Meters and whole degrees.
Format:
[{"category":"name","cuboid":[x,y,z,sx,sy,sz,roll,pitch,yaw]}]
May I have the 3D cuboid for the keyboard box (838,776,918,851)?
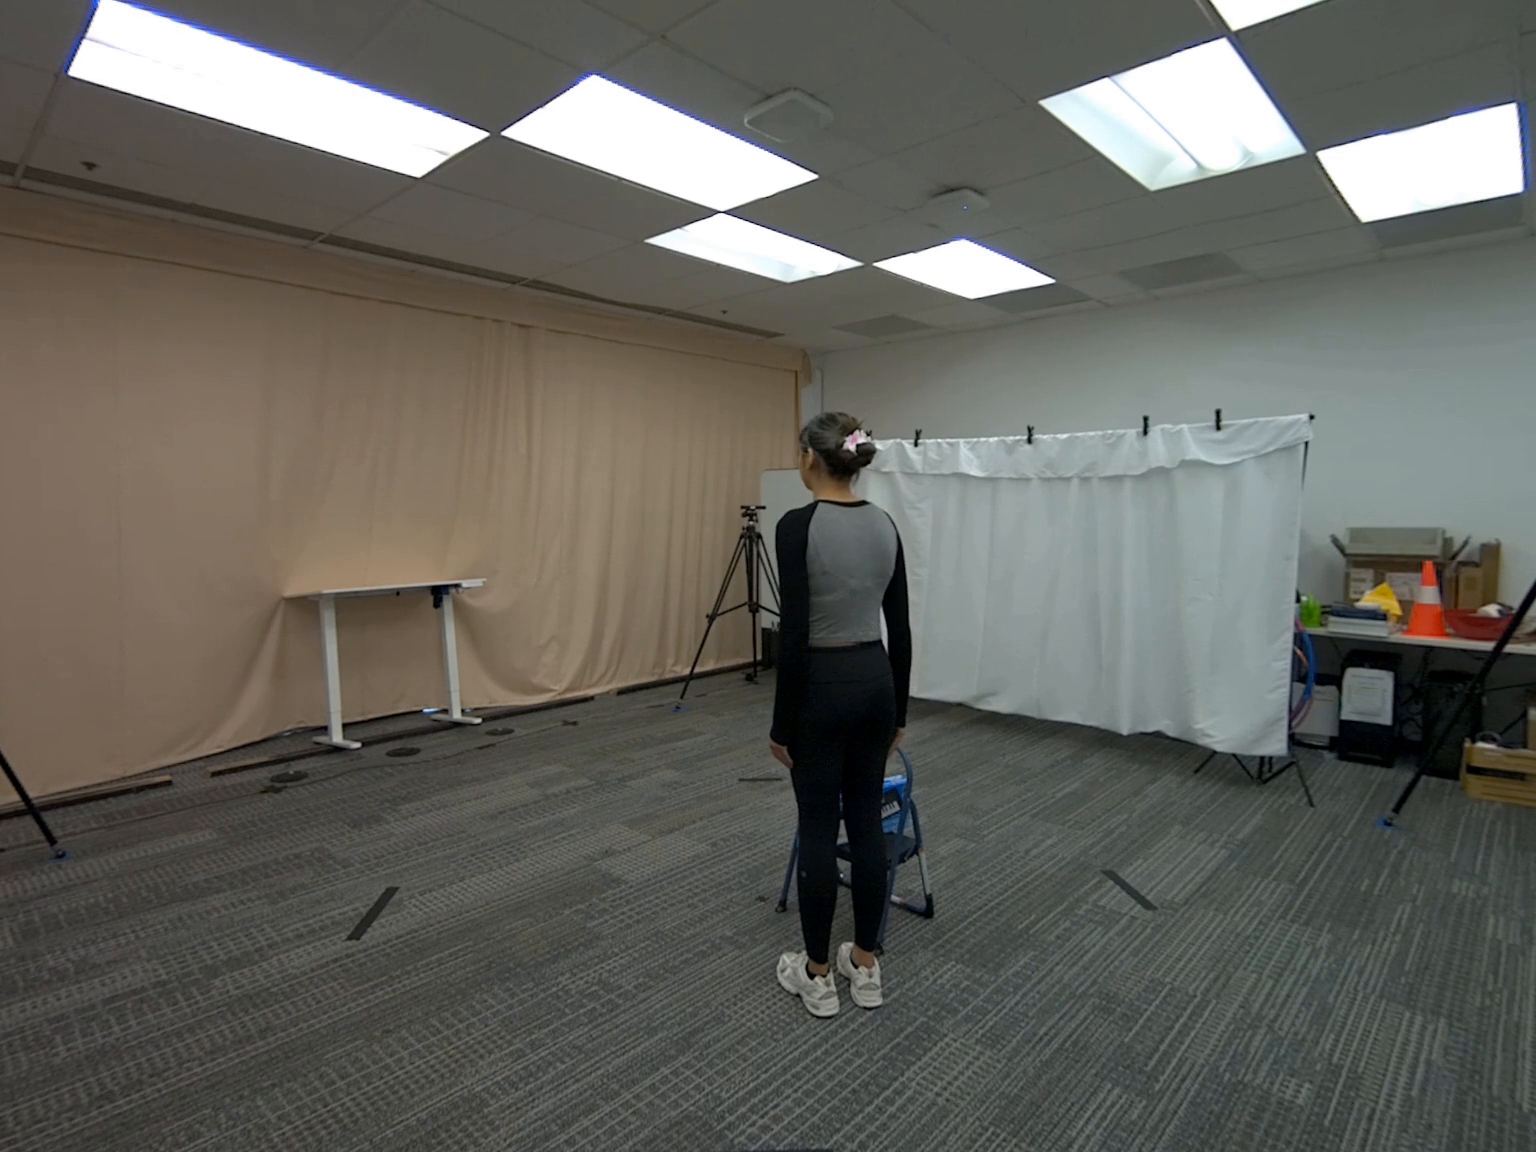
[{"category":"keyboard box","cuboid":[0.308,0.804,2.850,0.425,0.175,0.061,-4,11,-29]}]
